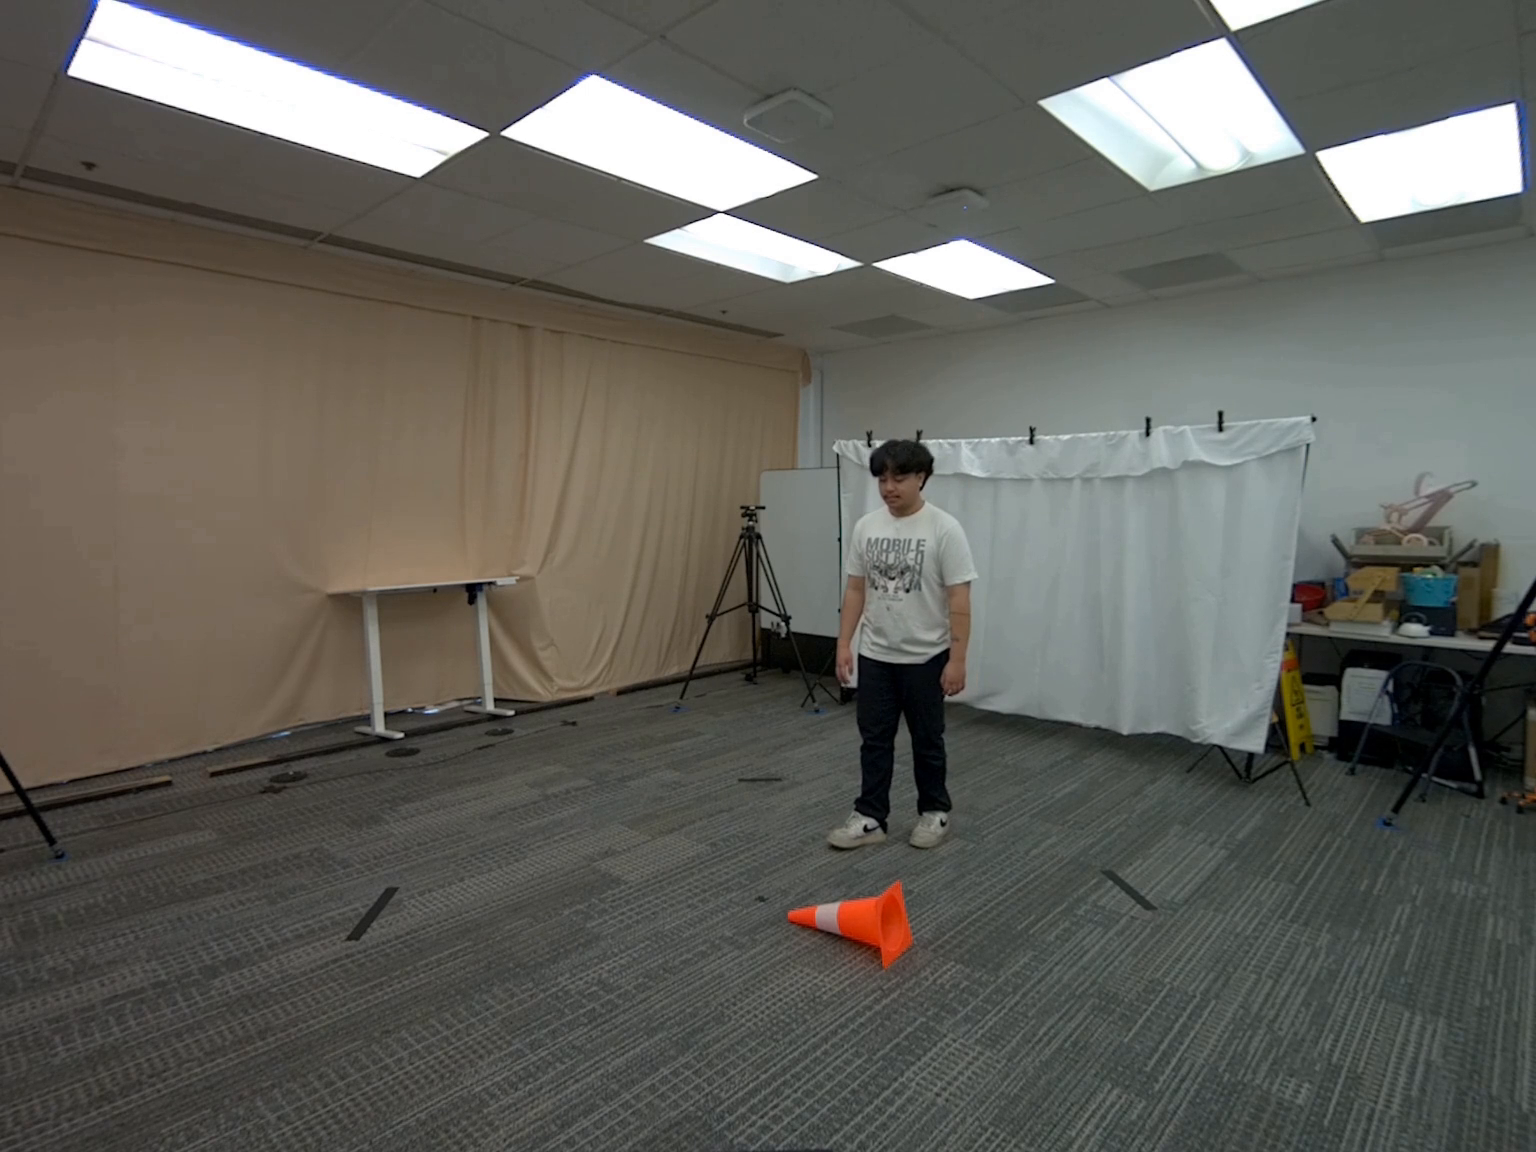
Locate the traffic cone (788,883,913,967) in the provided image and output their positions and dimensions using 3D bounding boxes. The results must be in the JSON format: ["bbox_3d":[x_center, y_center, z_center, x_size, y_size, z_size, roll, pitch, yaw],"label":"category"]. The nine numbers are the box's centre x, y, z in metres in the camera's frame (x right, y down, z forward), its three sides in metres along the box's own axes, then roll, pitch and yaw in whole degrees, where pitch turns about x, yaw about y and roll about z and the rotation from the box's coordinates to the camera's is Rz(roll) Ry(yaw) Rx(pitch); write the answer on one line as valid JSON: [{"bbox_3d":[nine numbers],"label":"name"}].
[{"bbox_3d":[0.234,1.114,2.716,0.393,0.204,0.199,-13,-5,33],"label":"traffic cone"}]
